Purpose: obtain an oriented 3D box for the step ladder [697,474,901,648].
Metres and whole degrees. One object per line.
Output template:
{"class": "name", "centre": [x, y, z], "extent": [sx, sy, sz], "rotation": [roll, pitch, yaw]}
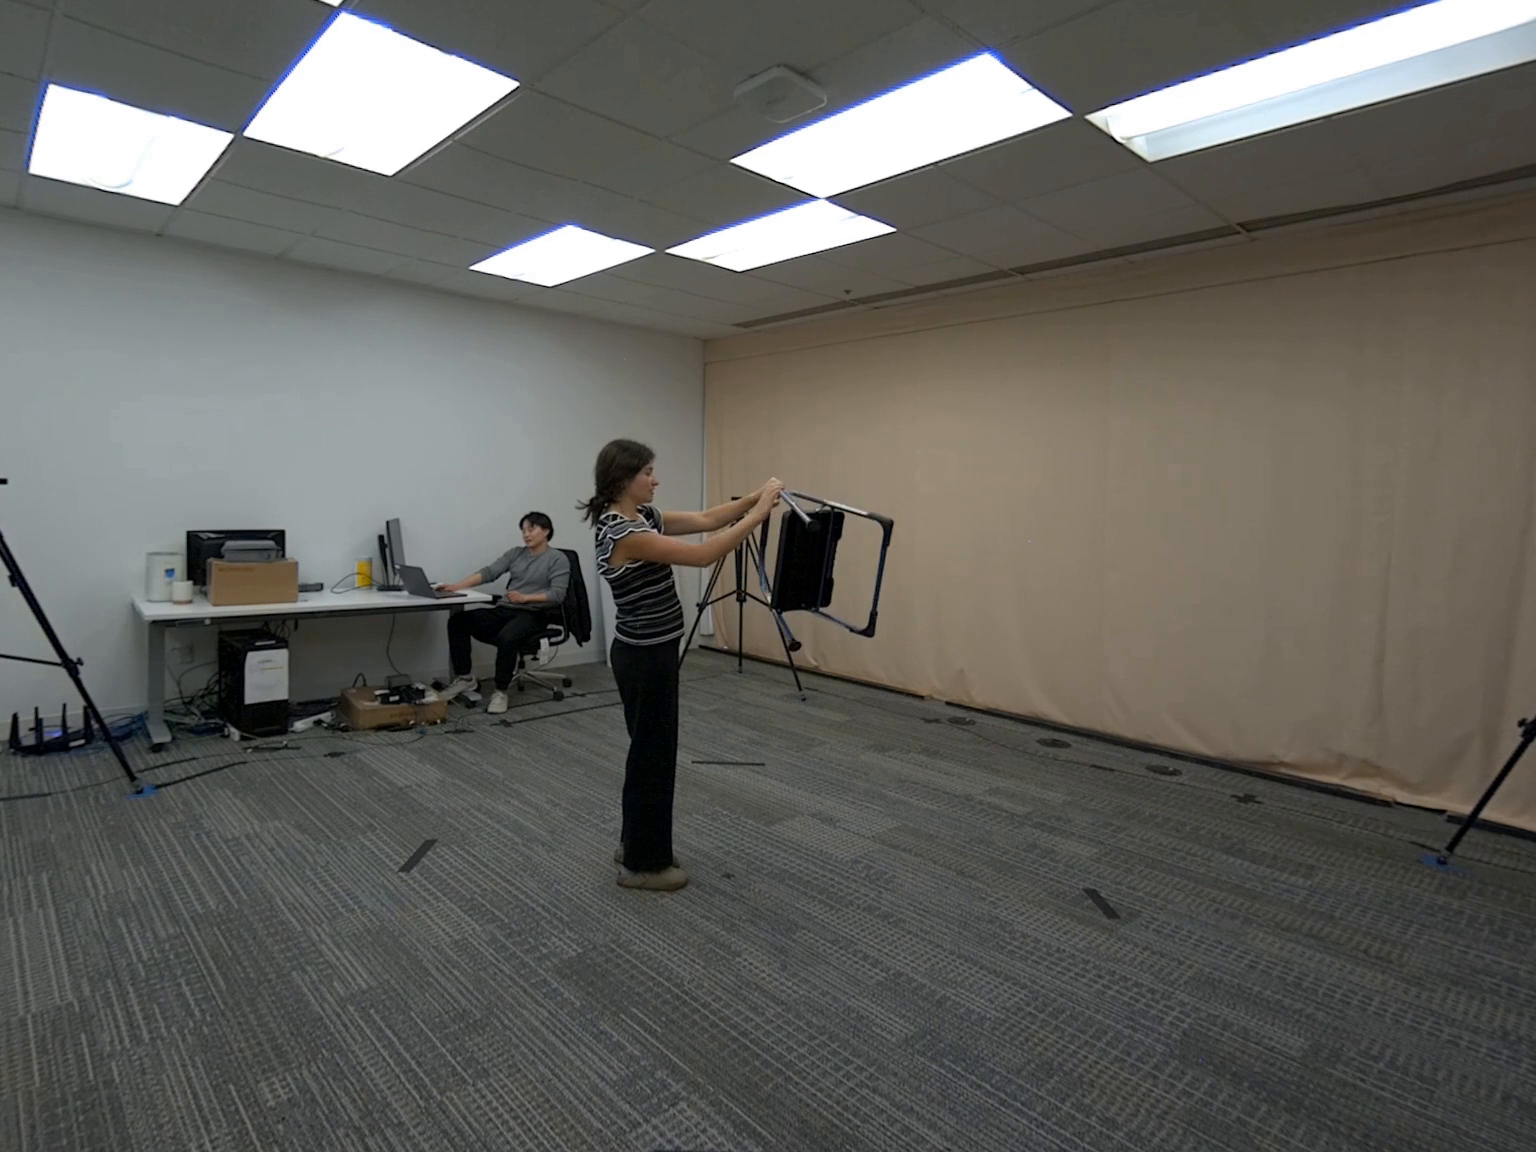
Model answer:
{"class": "step ladder", "centre": [0.079, -0.070, 2.913], "extent": [0.341, 0.427, 0.624], "rotation": [2, 14, -33]}
